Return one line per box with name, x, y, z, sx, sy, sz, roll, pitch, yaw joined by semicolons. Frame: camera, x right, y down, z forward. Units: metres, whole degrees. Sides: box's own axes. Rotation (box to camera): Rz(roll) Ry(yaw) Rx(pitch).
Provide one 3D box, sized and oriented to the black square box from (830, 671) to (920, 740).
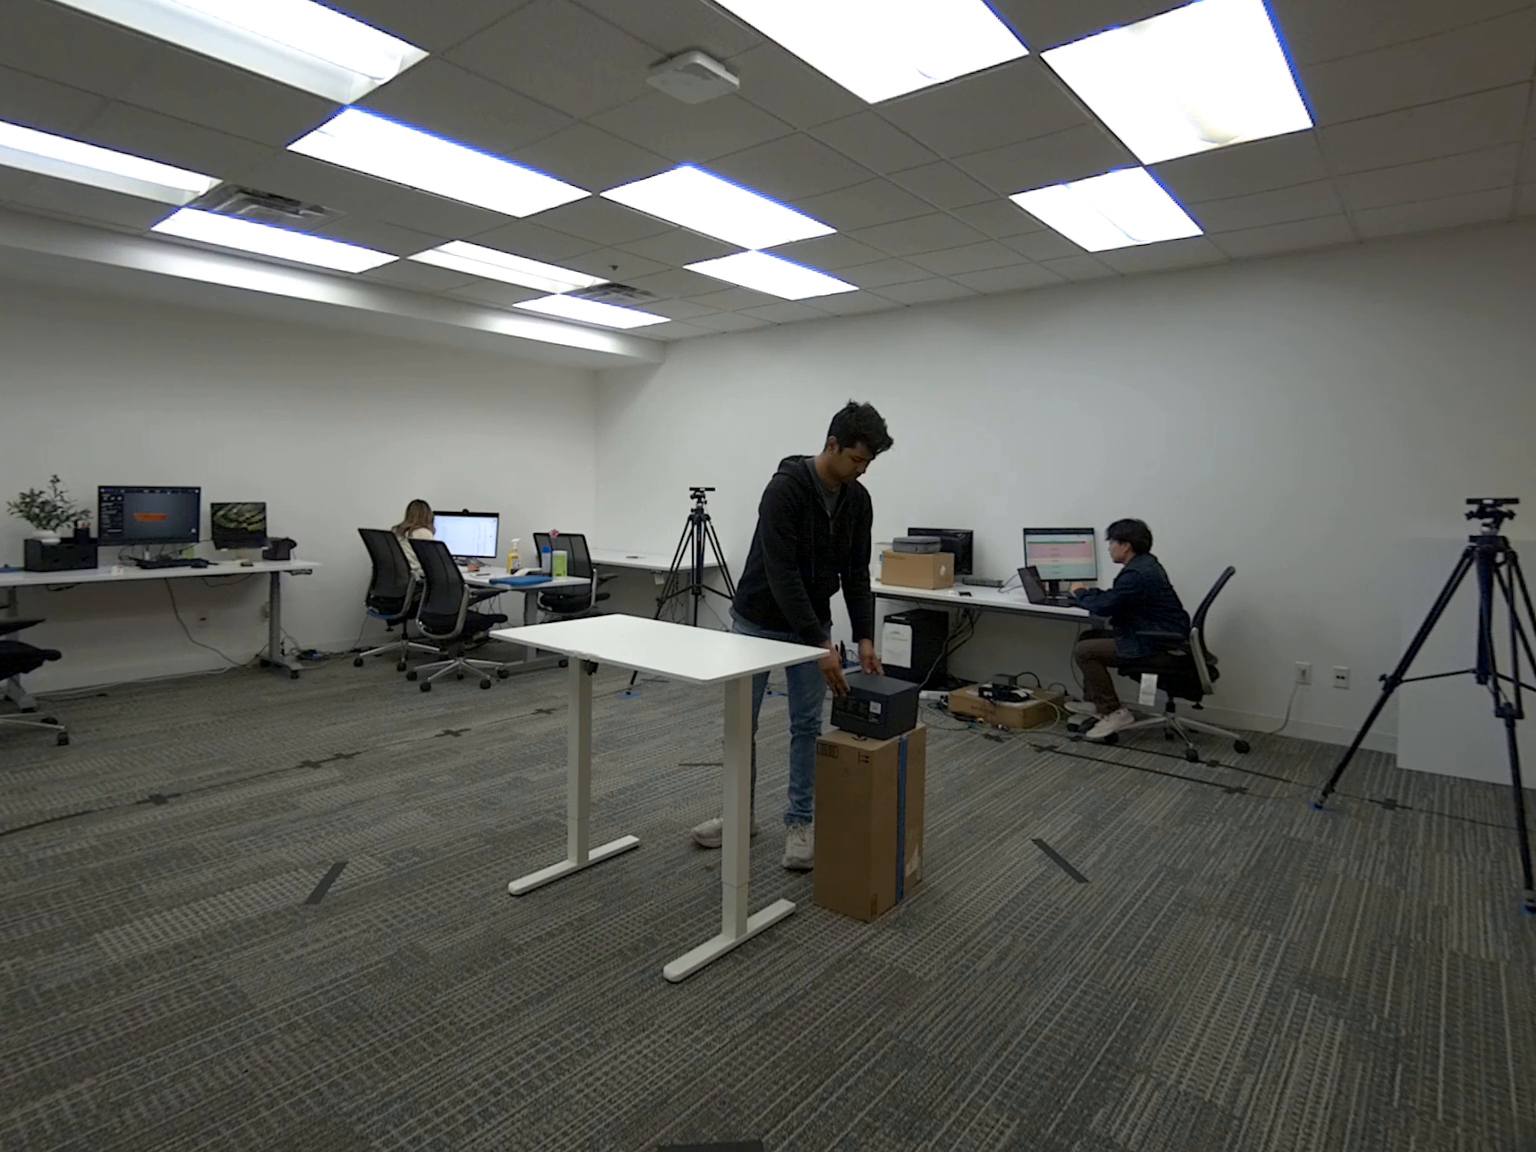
black square box;0.369;0.441;2.950;0.224;0.155;0.221;7;7;38
